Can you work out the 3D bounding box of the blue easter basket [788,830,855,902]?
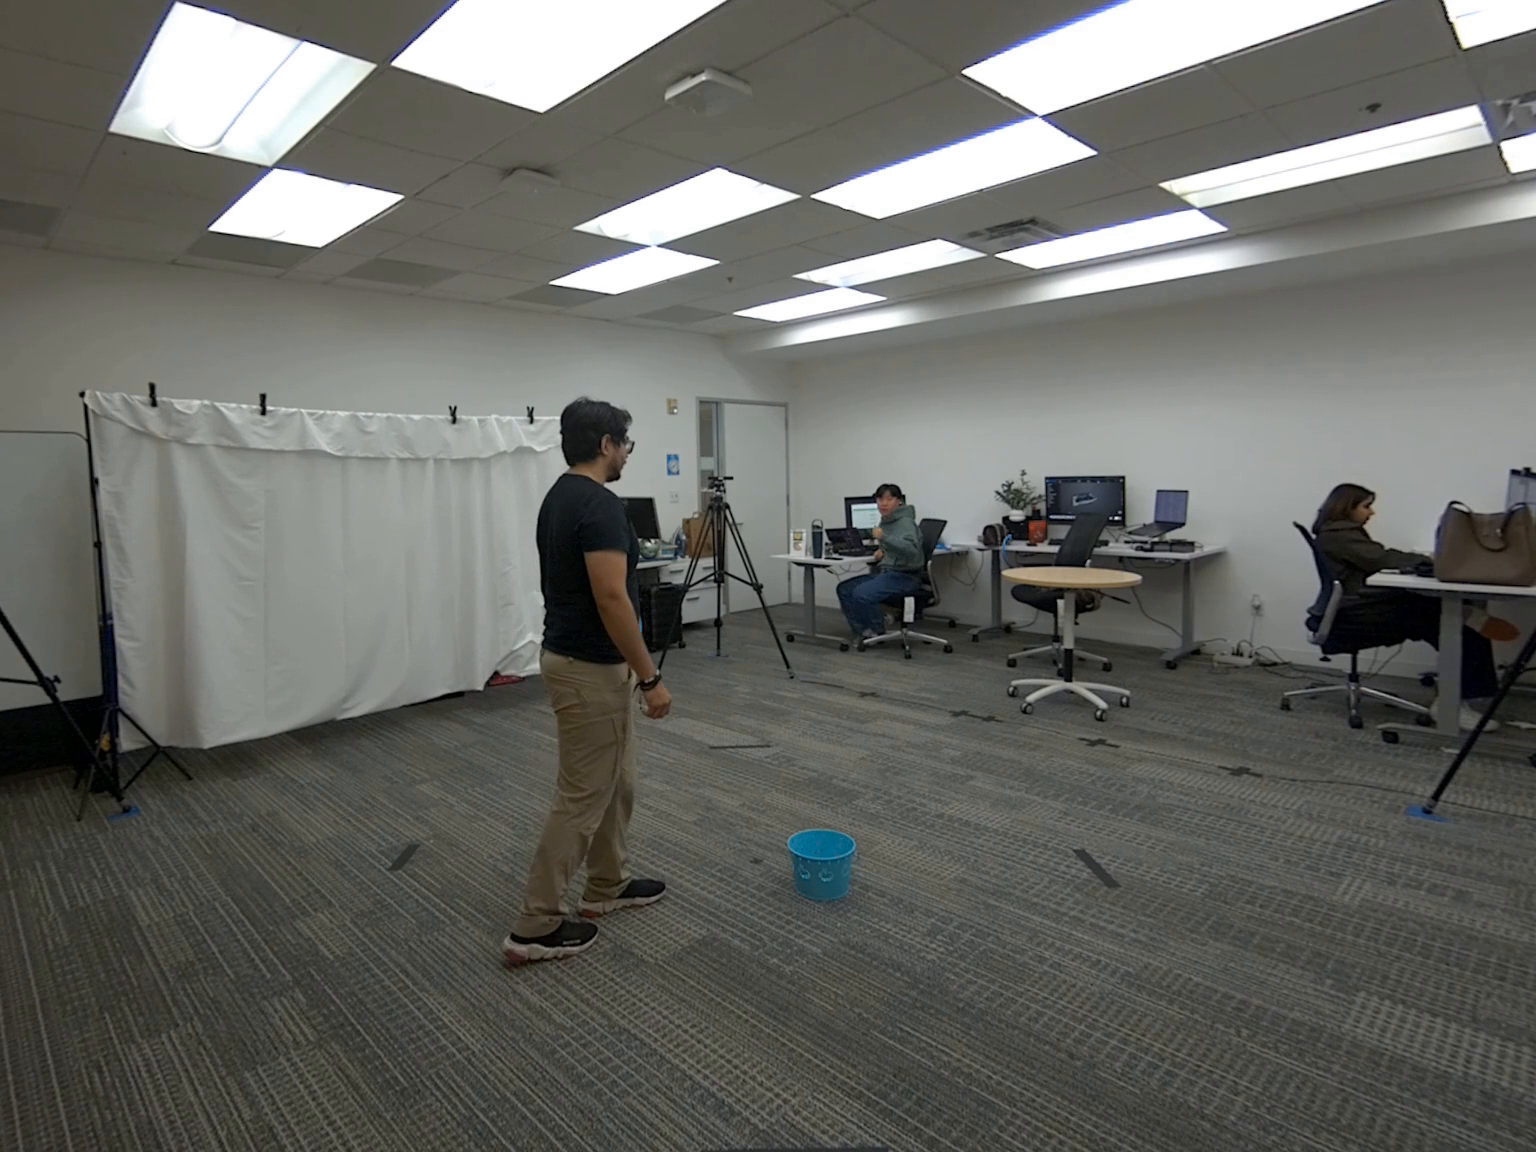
[{"bbox_3d":[0.187,0.978,2.896,0.243,0.155,0.245,-2,5,-2],"label":"blue easter basket"}]
